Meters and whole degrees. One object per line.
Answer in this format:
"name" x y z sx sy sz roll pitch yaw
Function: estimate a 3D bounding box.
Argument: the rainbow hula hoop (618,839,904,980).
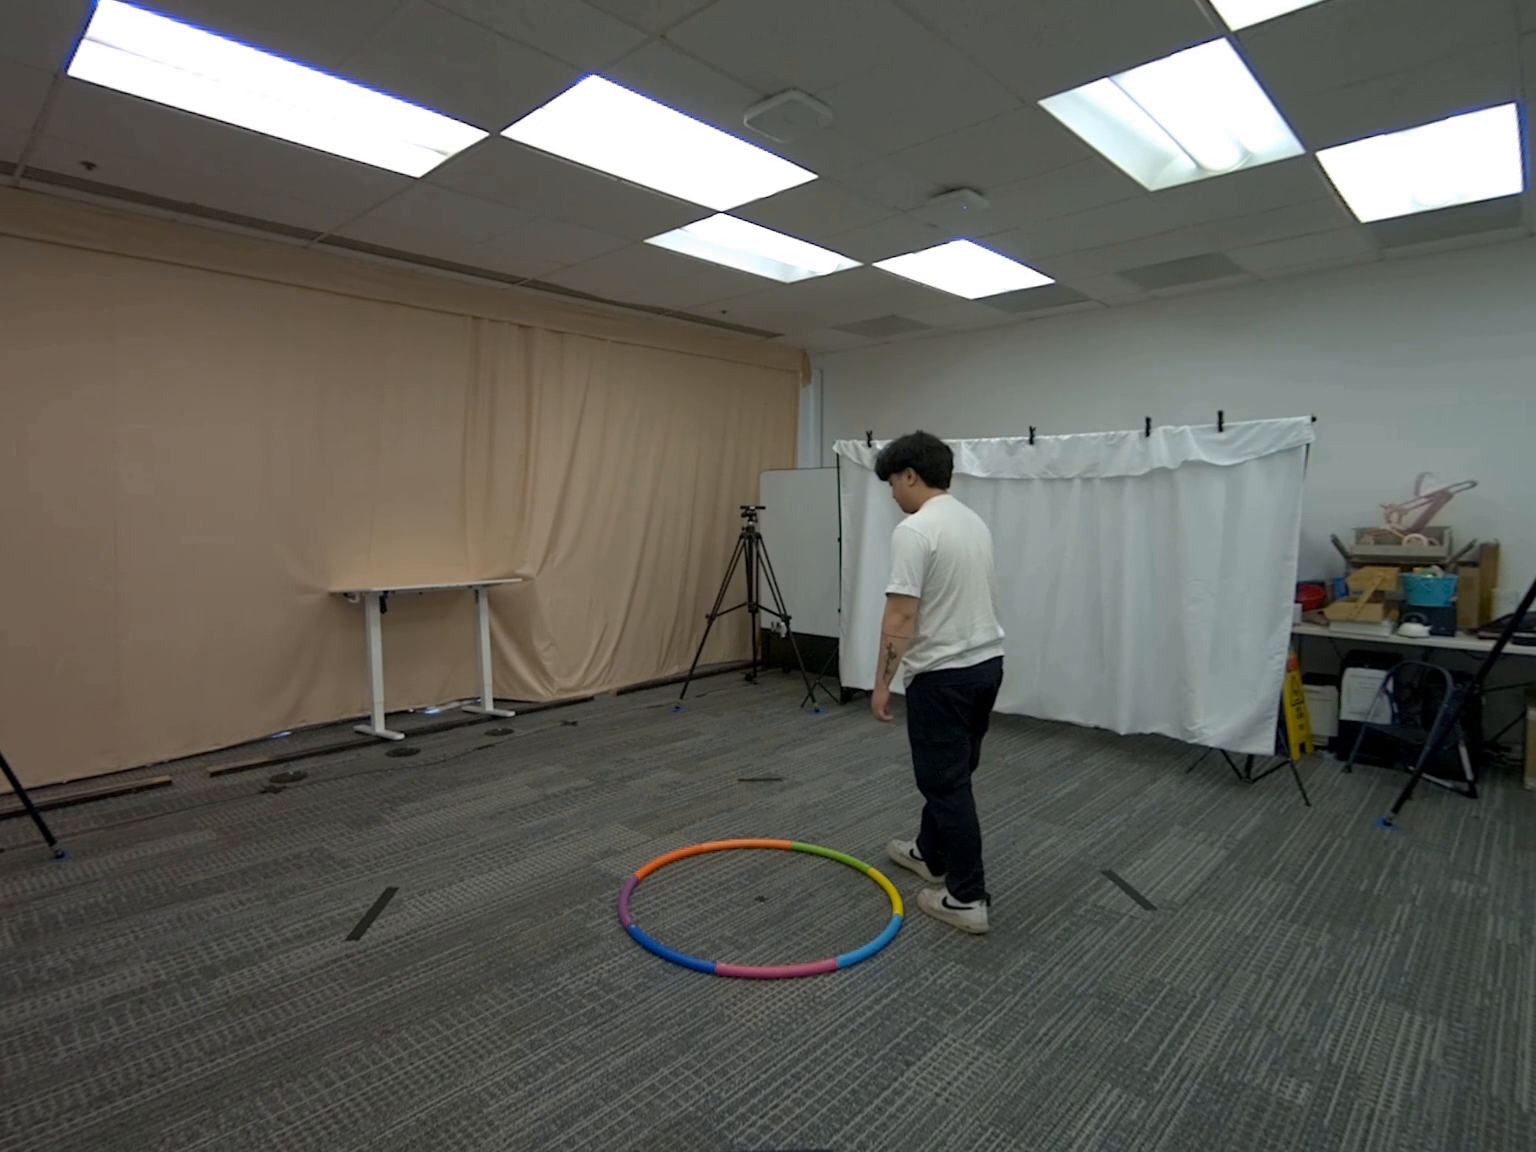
"rainbow hula hoop" -0.023 1.121 2.953 0.985 0.051 0.989 -1 5 -2
